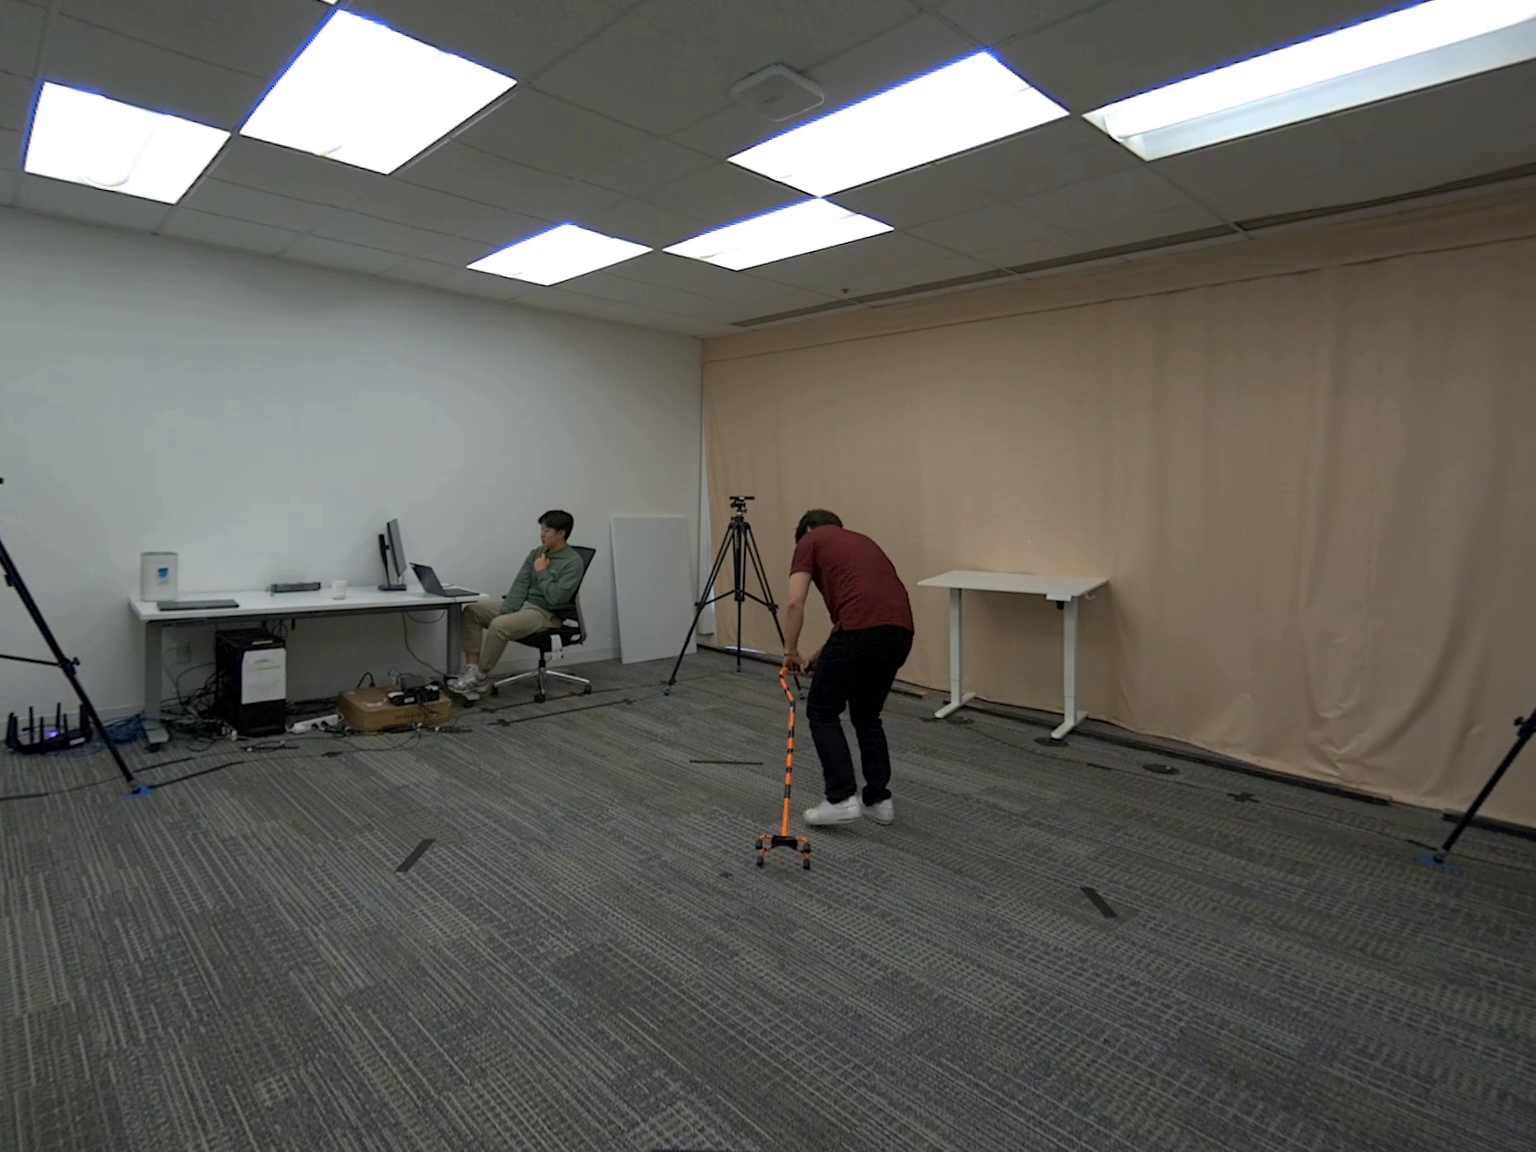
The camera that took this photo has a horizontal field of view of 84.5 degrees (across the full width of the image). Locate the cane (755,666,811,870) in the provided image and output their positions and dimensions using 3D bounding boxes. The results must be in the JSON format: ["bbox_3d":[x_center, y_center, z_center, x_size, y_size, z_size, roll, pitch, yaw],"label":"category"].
[{"bbox_3d":[0.076,0.734,3.456,0.207,0.148,0.925,1,43,5],"label":"cane"}]
